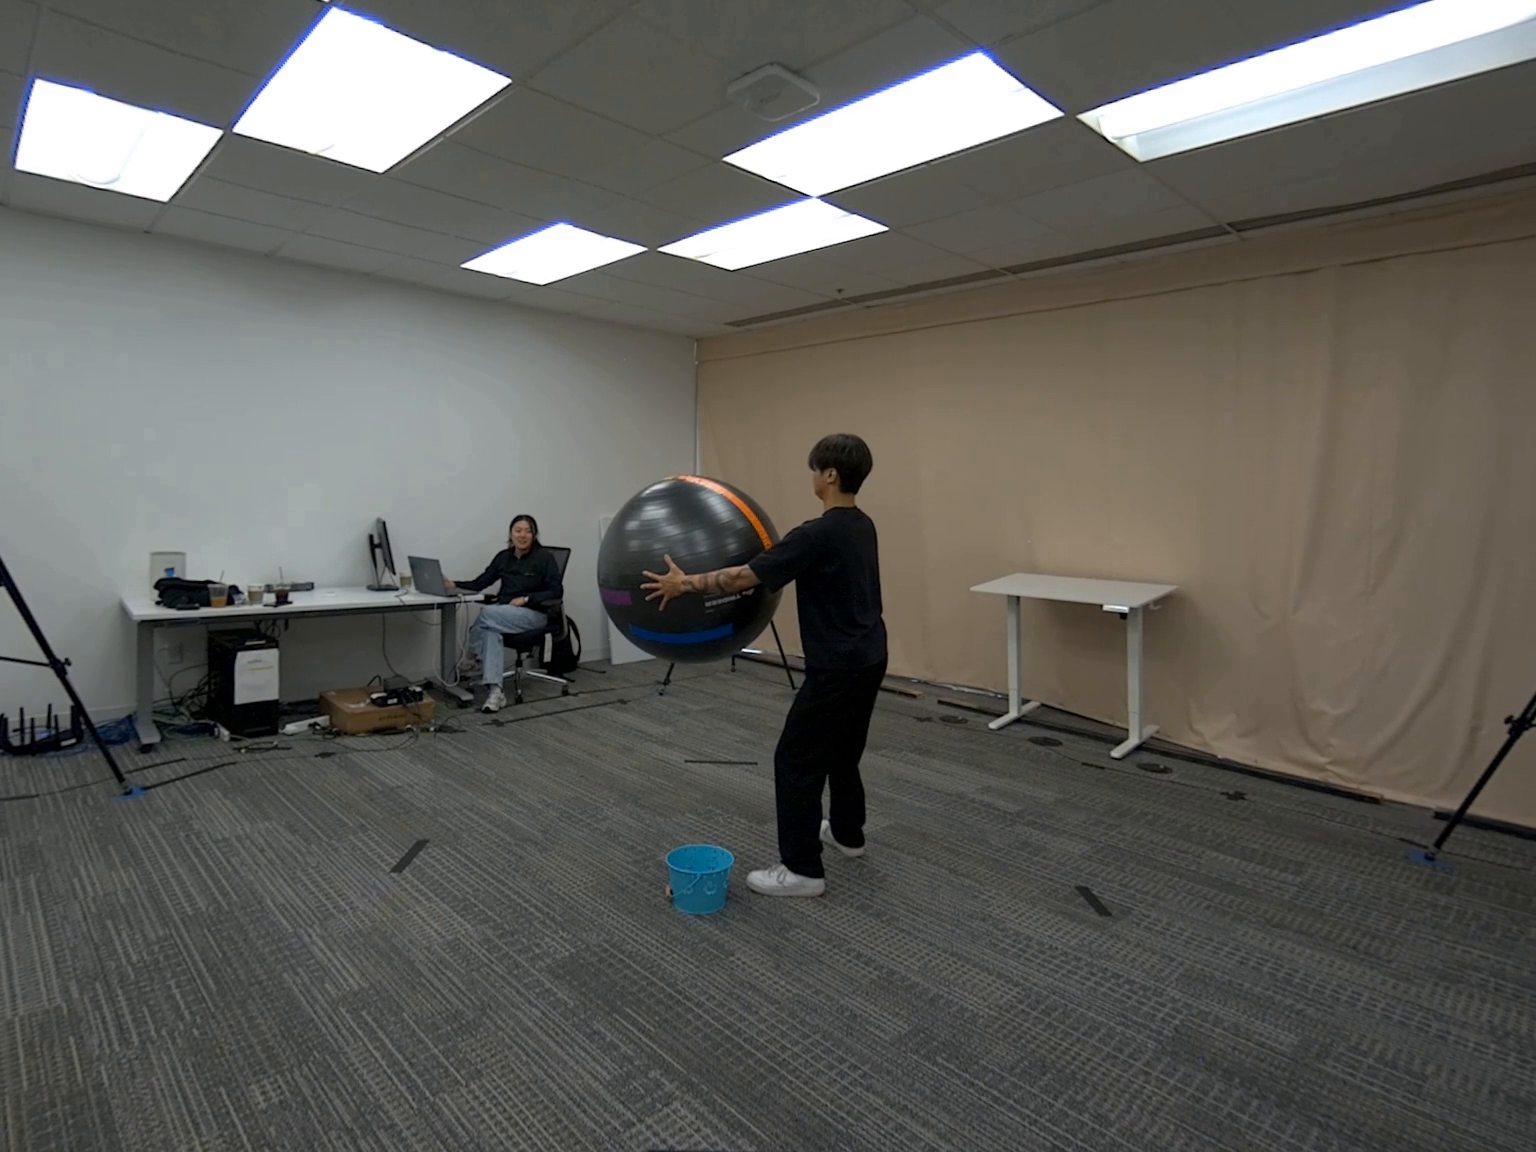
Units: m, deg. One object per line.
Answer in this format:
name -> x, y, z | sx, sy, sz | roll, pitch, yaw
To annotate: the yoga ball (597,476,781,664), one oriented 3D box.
yoga ball -> -0.333, -0.022, 3.439 | 0.757, 0.756, 0.761 | 1, 4, -1
